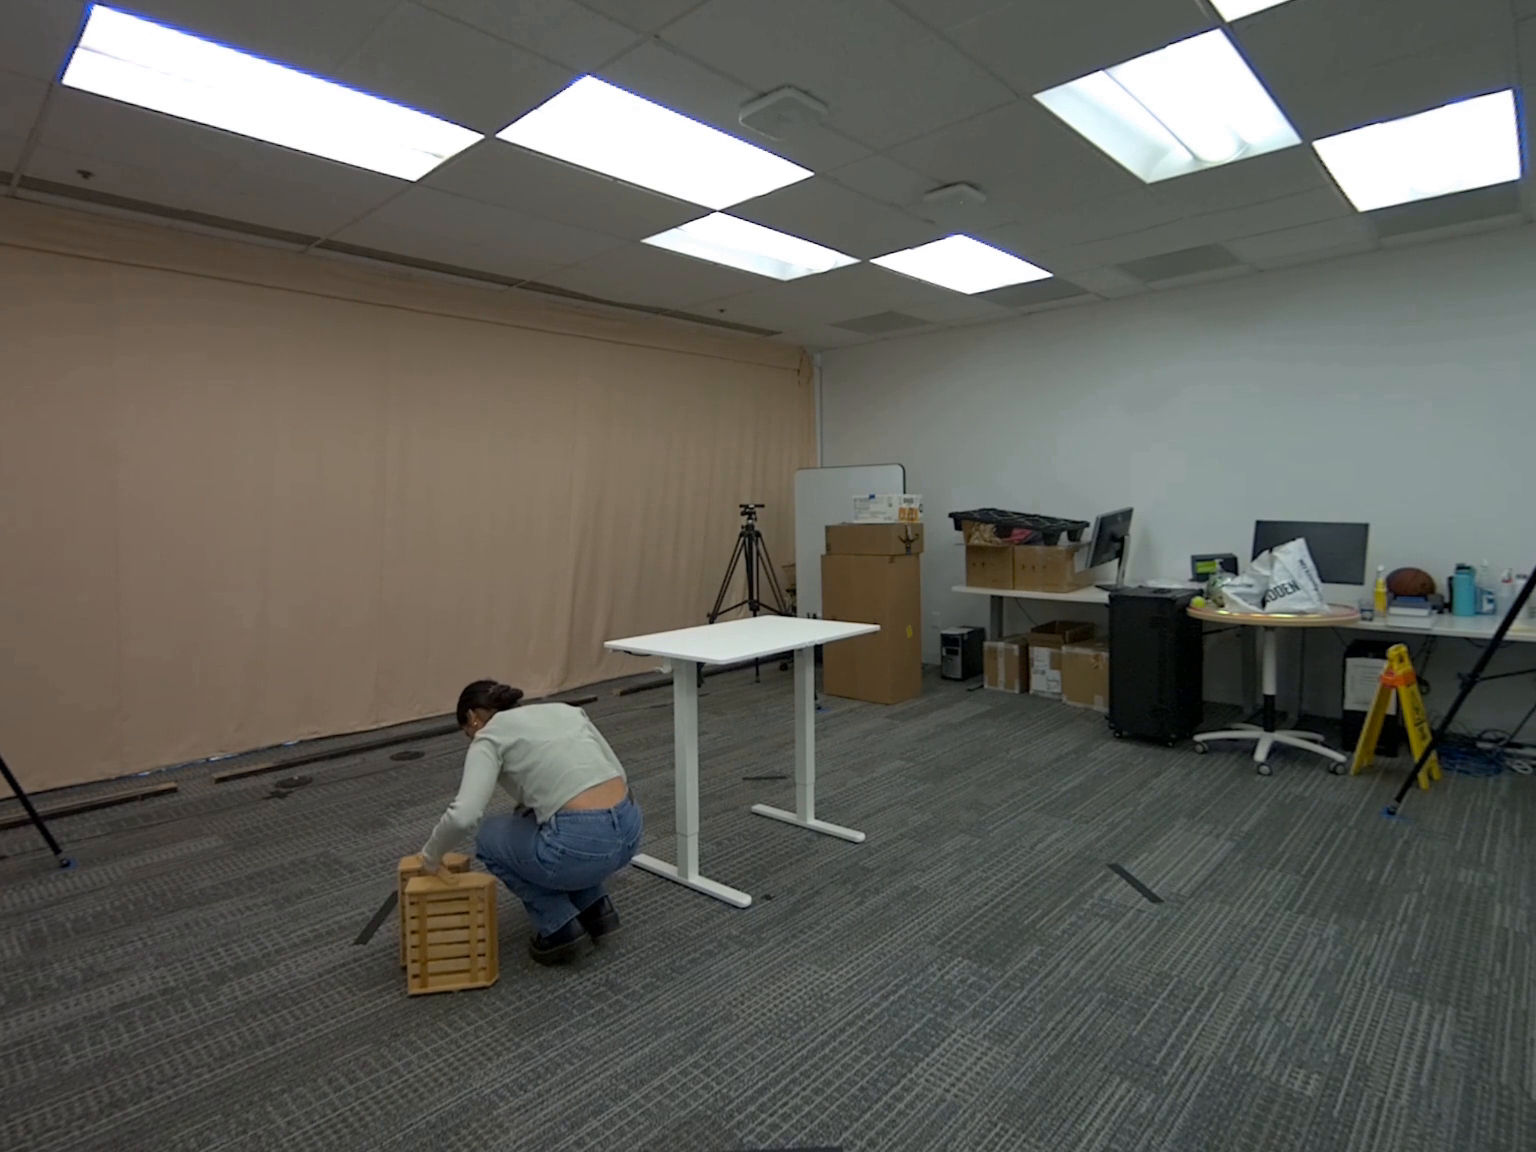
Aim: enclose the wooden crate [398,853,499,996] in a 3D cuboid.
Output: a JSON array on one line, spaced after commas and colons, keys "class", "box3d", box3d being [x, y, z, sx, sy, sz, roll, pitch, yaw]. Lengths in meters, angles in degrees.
[{"class": "wooden crate", "box3d": [-0.980, 1.046, 2.538, 0.298, 0.323, 0.278, -3, 5, -13]}]
